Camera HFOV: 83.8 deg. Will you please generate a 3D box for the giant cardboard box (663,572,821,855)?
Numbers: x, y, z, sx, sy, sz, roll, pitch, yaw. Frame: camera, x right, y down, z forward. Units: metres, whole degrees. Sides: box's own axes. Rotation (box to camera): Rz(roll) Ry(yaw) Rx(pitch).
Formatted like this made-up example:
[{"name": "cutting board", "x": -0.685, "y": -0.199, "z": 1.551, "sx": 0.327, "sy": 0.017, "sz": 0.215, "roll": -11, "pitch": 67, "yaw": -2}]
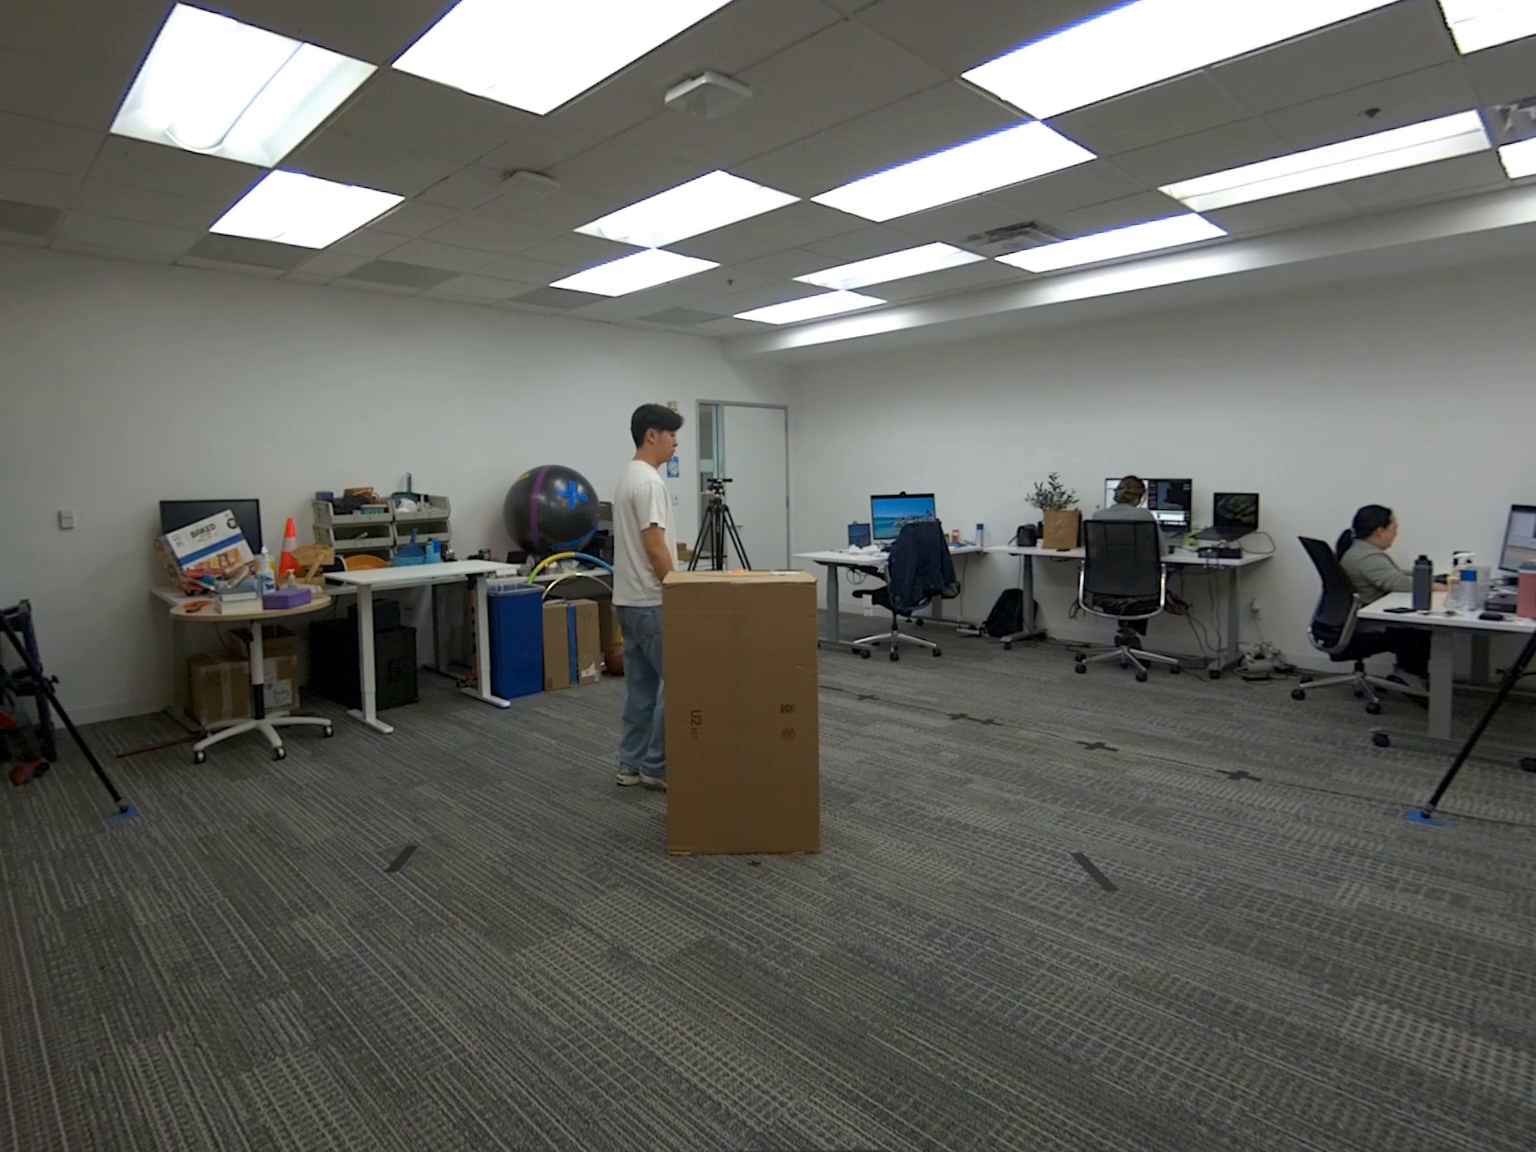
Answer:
[{"name": "giant cardboard box", "x": -0.099, "y": 0.508, "z": 3.365, "sx": 0.577, "sy": 1.022, "sz": 0.428, "roll": -1, "pitch": 4, "yaw": -1}]
